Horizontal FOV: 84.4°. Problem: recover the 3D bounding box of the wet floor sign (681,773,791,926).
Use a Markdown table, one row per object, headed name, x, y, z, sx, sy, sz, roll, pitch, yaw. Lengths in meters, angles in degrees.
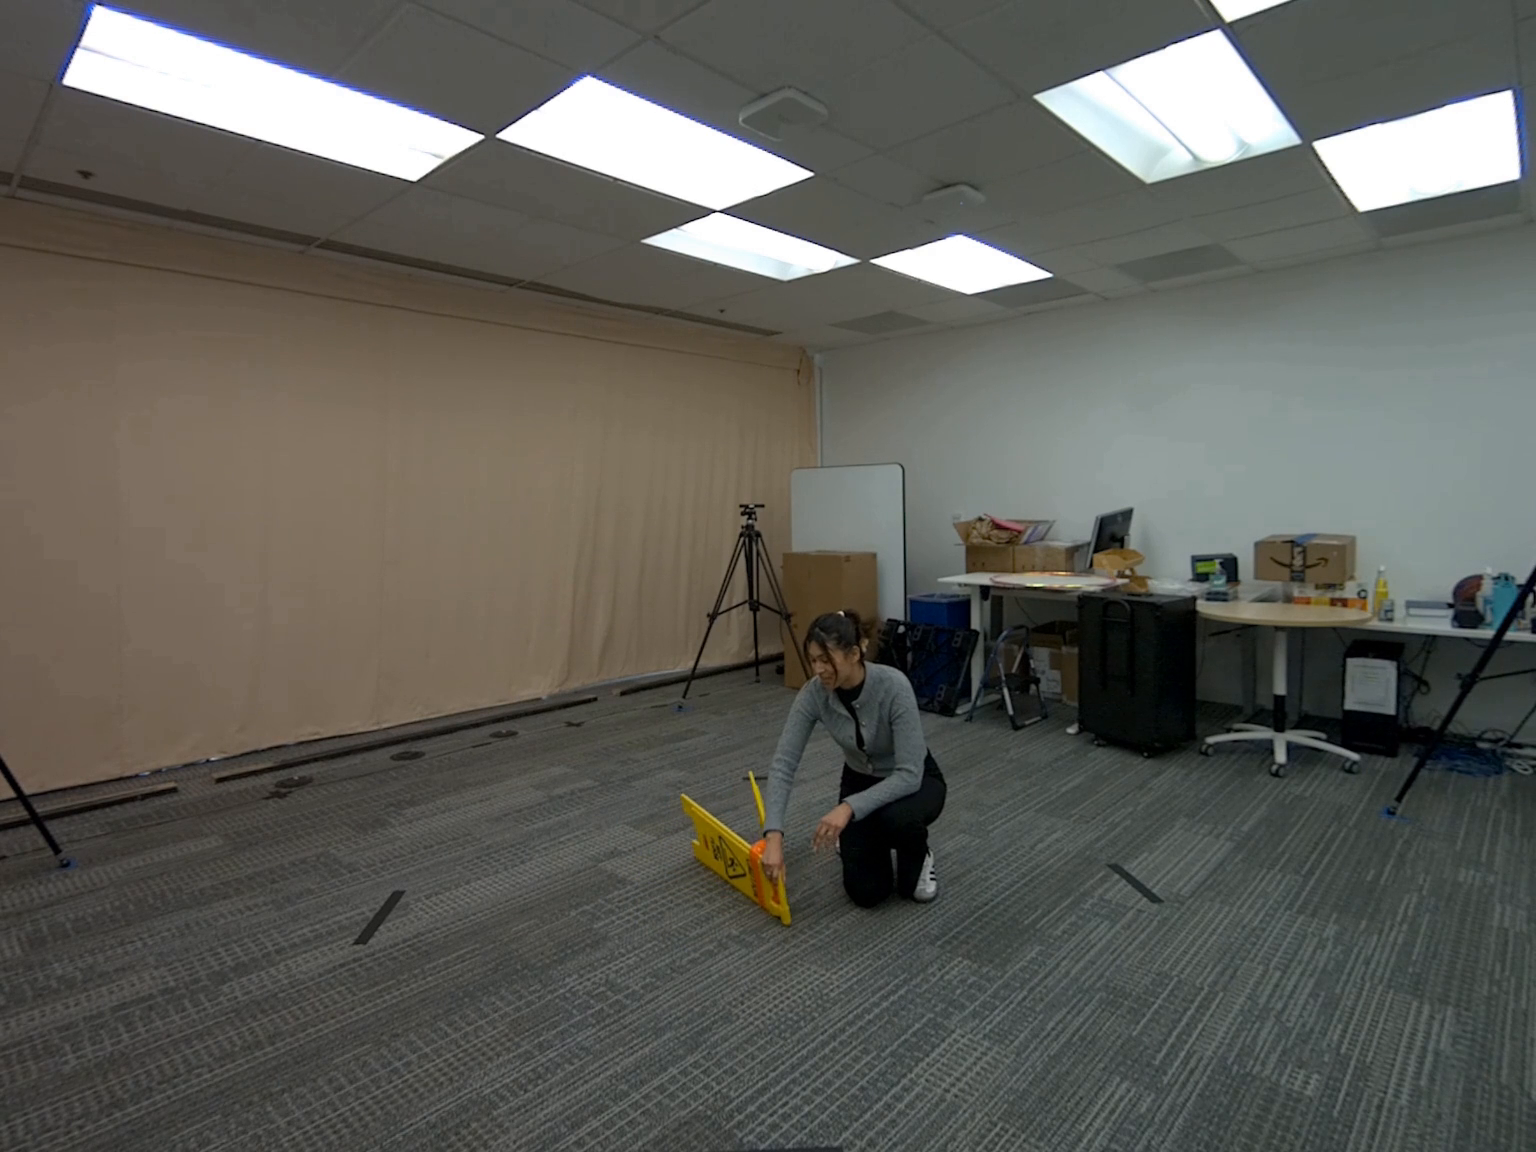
| name | x | y | z | sx | sy | sz | roll | pitch | yaw |
| --- | --- | --- | --- | --- | --- | --- | --- | --- | --- |
| wet floor sign | -0.061 | 1.004 | 3.051 | 0.286 | 0.279 | 0.662 | -16 | 15 | -17 |
